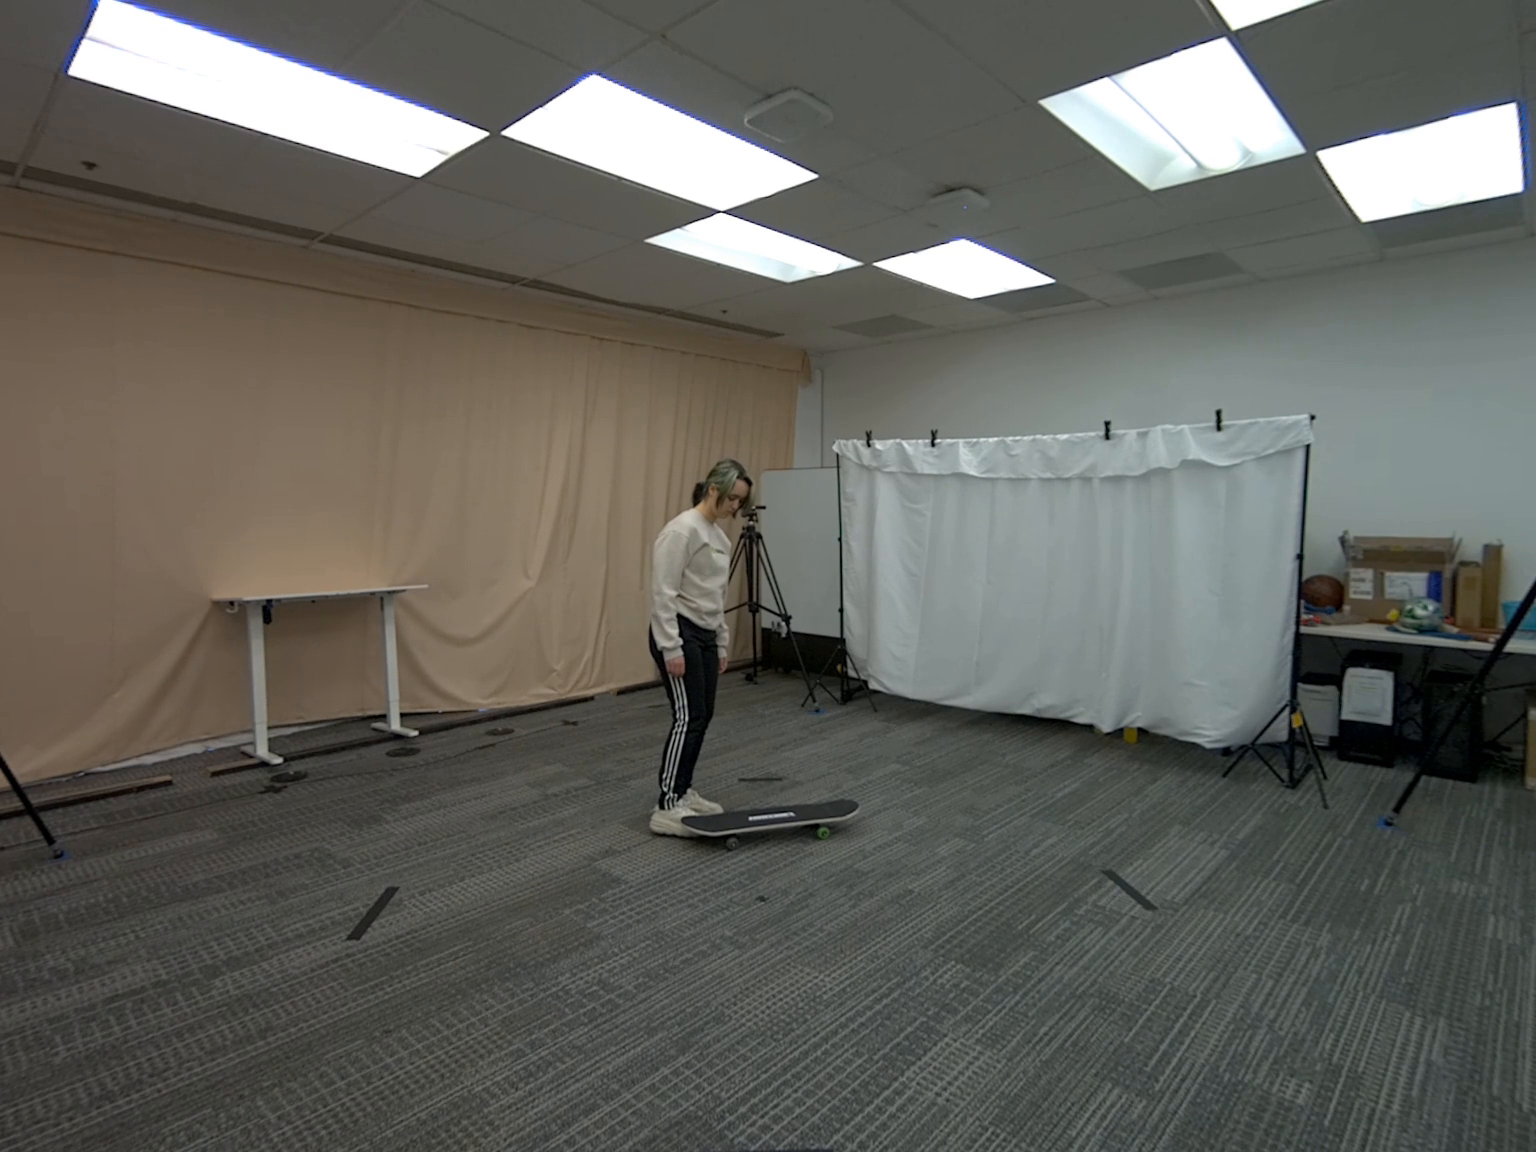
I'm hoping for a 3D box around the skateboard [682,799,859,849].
[{"bbox_3d":[0.018,1.042,3.531,0.772,0.110,0.197,-2,5,-17],"label":"skateboard"}]
